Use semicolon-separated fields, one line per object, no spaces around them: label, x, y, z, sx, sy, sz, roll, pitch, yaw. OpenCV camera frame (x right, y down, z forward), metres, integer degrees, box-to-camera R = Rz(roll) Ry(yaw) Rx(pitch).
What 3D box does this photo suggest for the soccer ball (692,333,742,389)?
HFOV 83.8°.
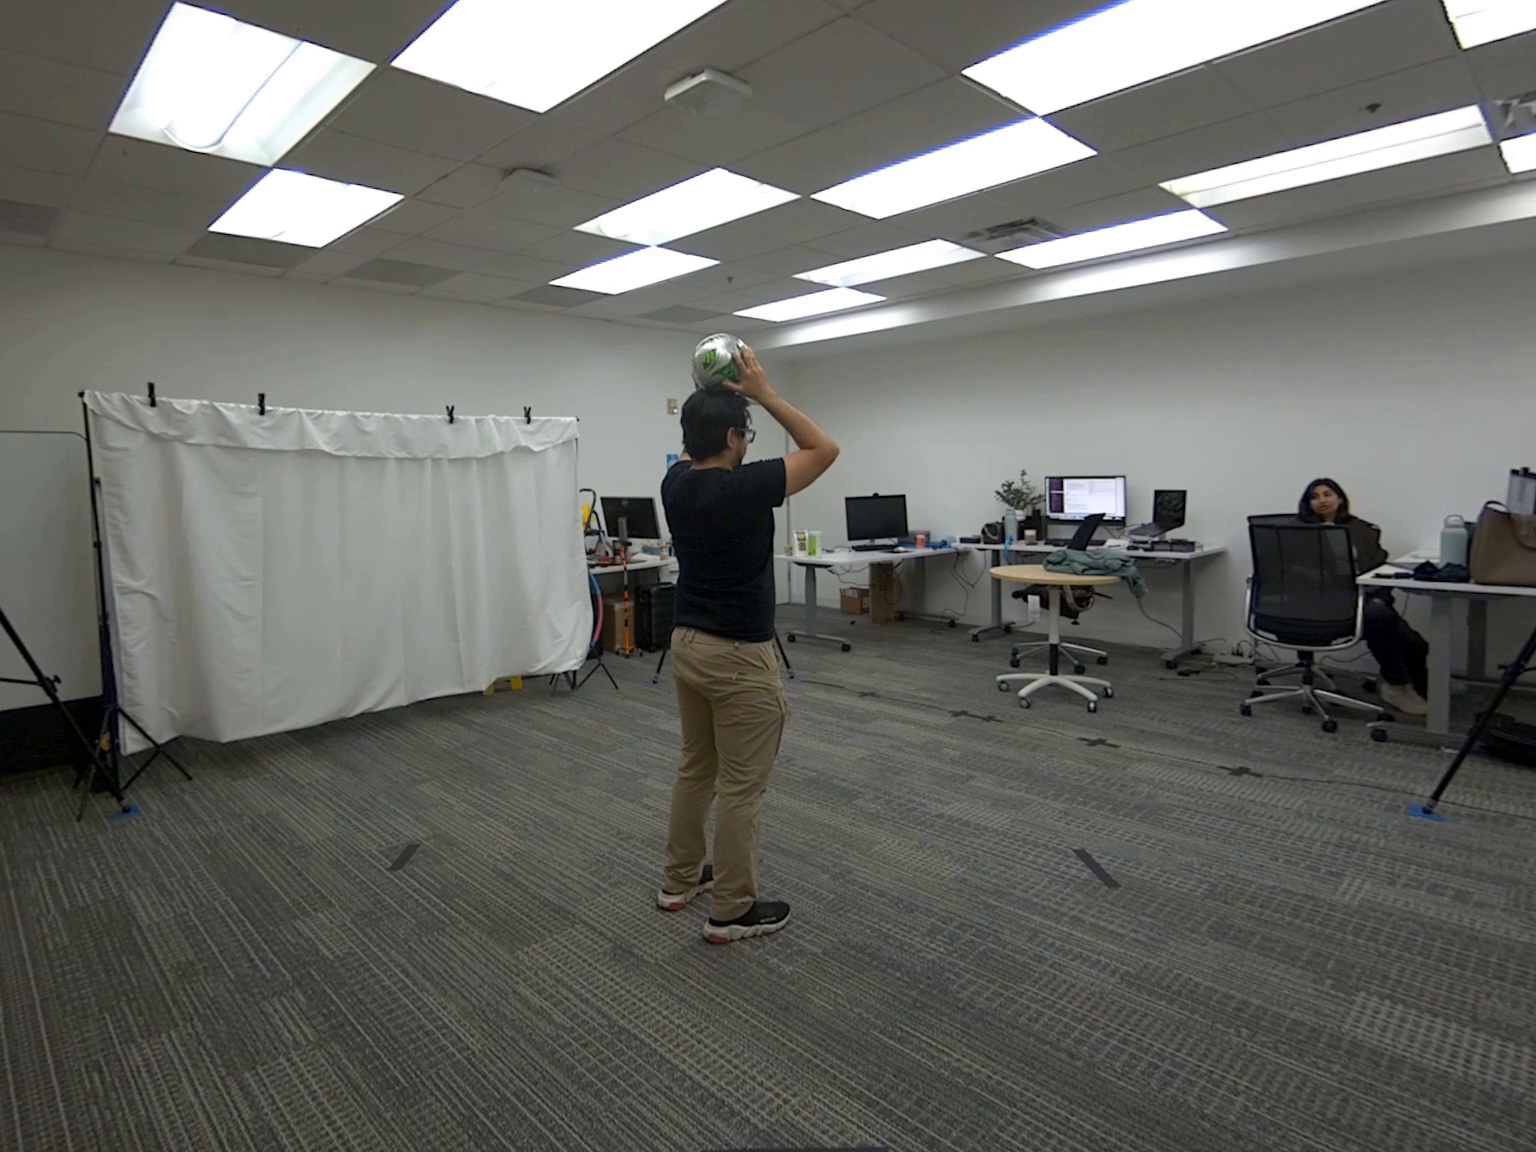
soccer ball;-0.136;-0.646;2.620;0.187;0.187;0.188;-1;5;-2
